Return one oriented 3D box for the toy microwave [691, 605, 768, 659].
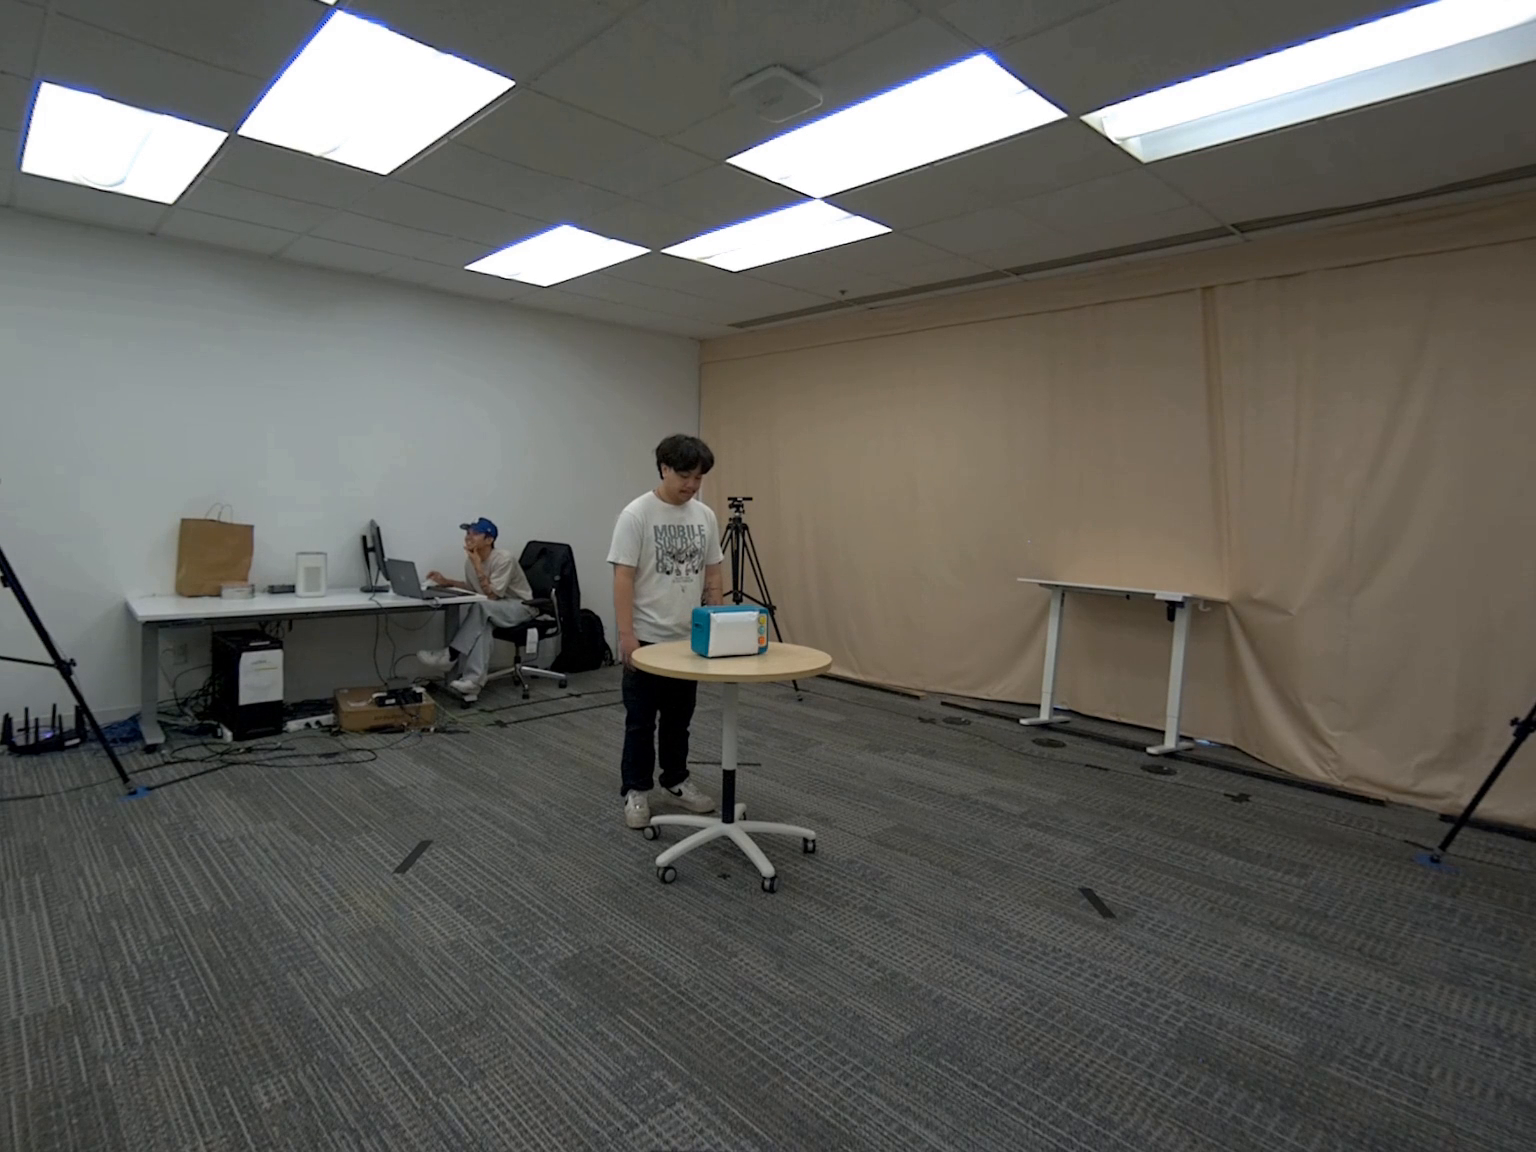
[{"bbox_3d":[-0.148,0.210,3.237,0.280,0.184,0.156,-1,4,-30],"label":"toy microwave"}]
